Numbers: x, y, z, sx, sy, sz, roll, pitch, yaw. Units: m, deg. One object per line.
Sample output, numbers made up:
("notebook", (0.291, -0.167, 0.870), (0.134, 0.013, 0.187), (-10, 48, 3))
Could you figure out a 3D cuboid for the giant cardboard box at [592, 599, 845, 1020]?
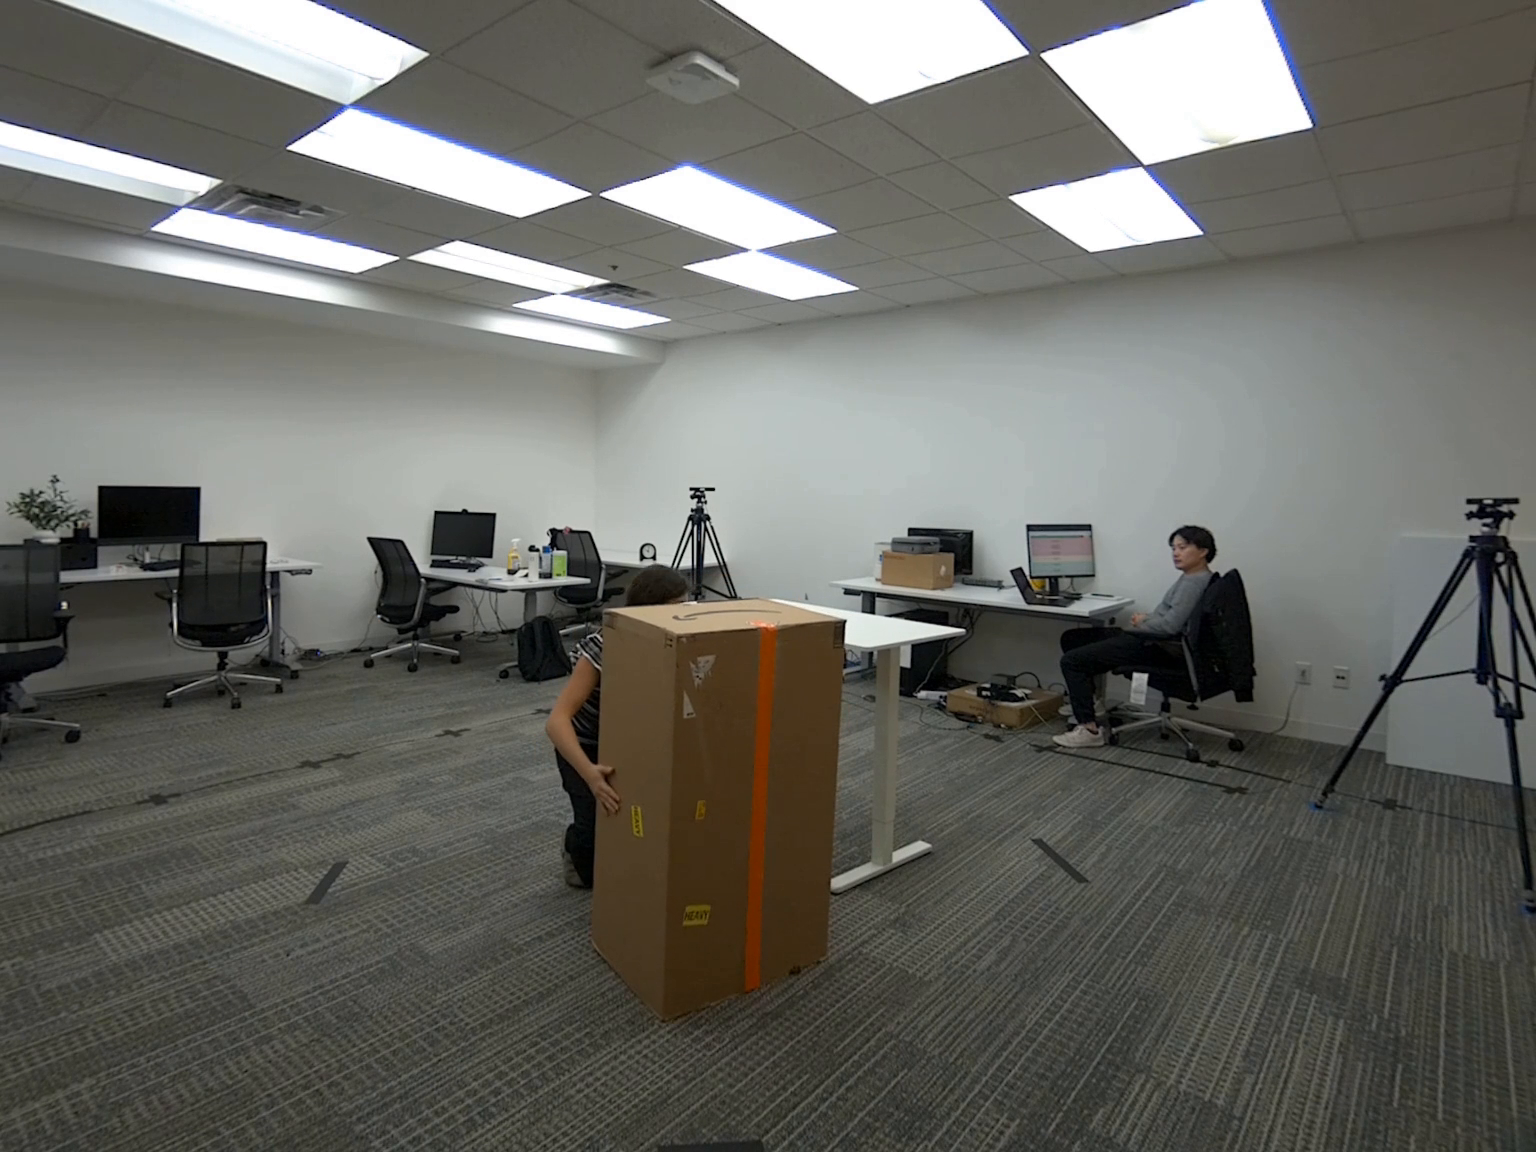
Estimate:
("giant cardboard box", (-0.156, 0.612, 2.503), (0.561, 1.021, 0.441), (-1, 6, -36))
